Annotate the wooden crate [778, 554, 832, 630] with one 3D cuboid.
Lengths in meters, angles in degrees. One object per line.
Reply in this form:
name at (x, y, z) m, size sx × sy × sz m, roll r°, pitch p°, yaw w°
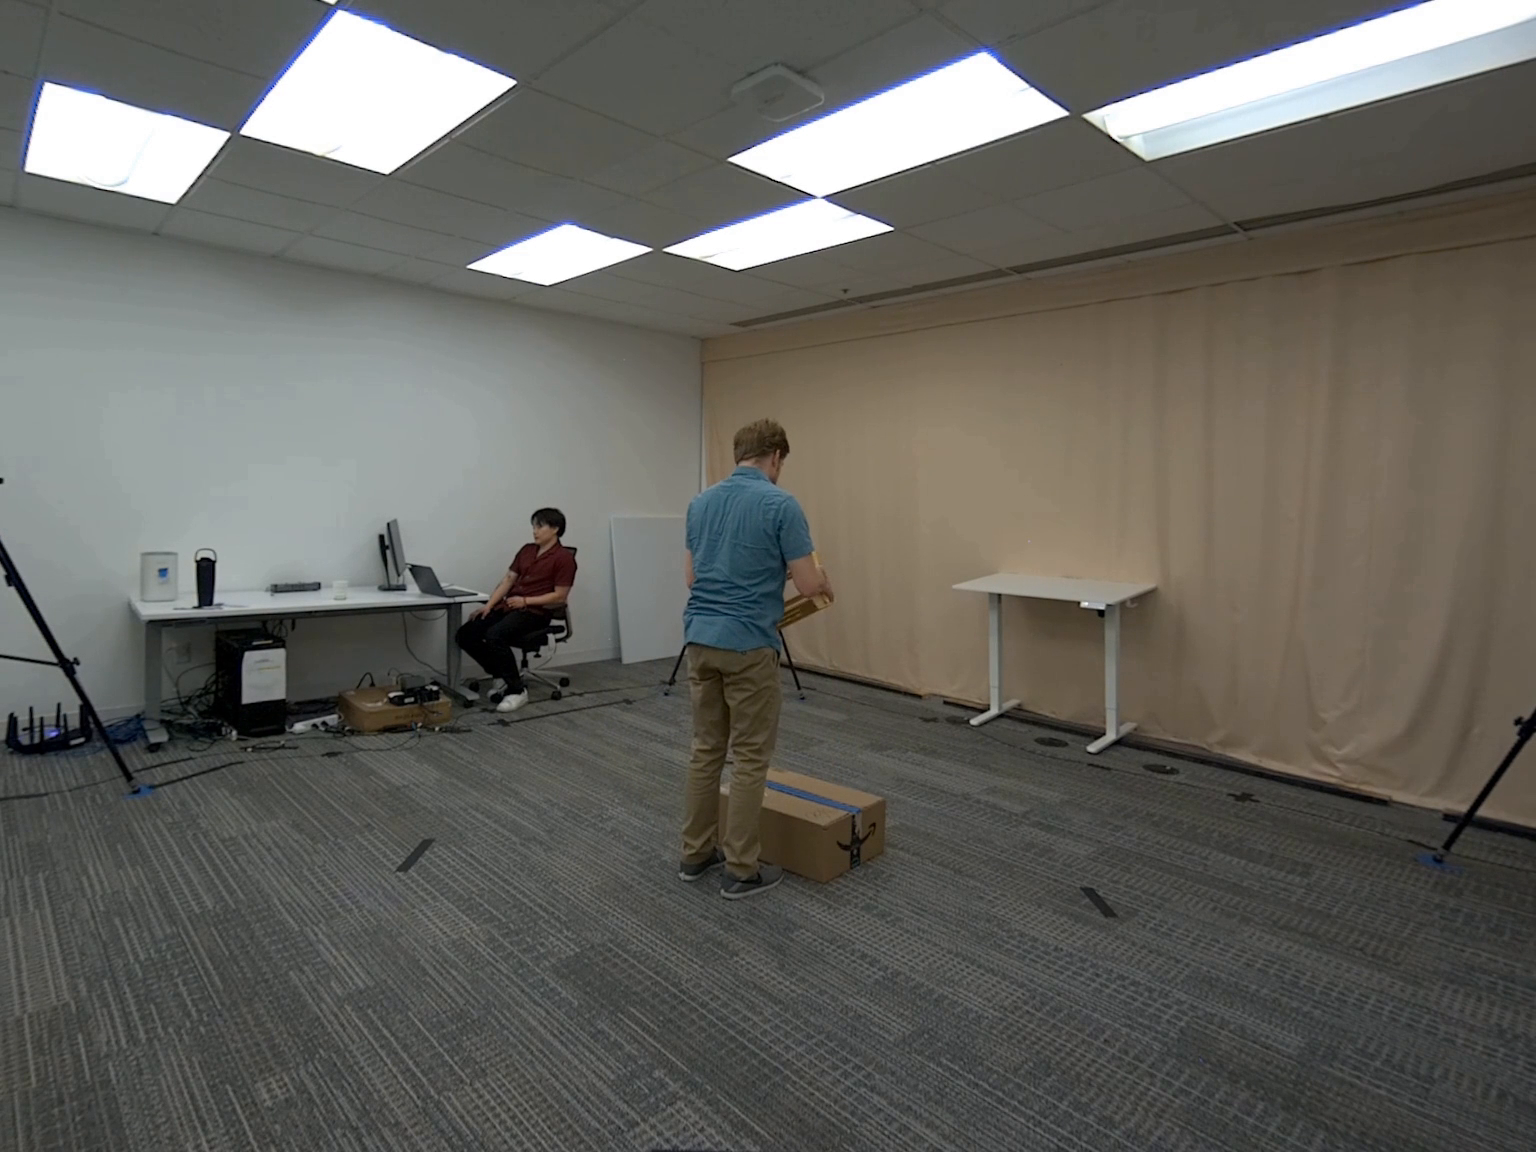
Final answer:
wooden crate at (0.059, 0.056, 3.295) m, size 0.327 × 0.276 × 0.297 m, roll -28°, pitch -8°, yaw 21°
